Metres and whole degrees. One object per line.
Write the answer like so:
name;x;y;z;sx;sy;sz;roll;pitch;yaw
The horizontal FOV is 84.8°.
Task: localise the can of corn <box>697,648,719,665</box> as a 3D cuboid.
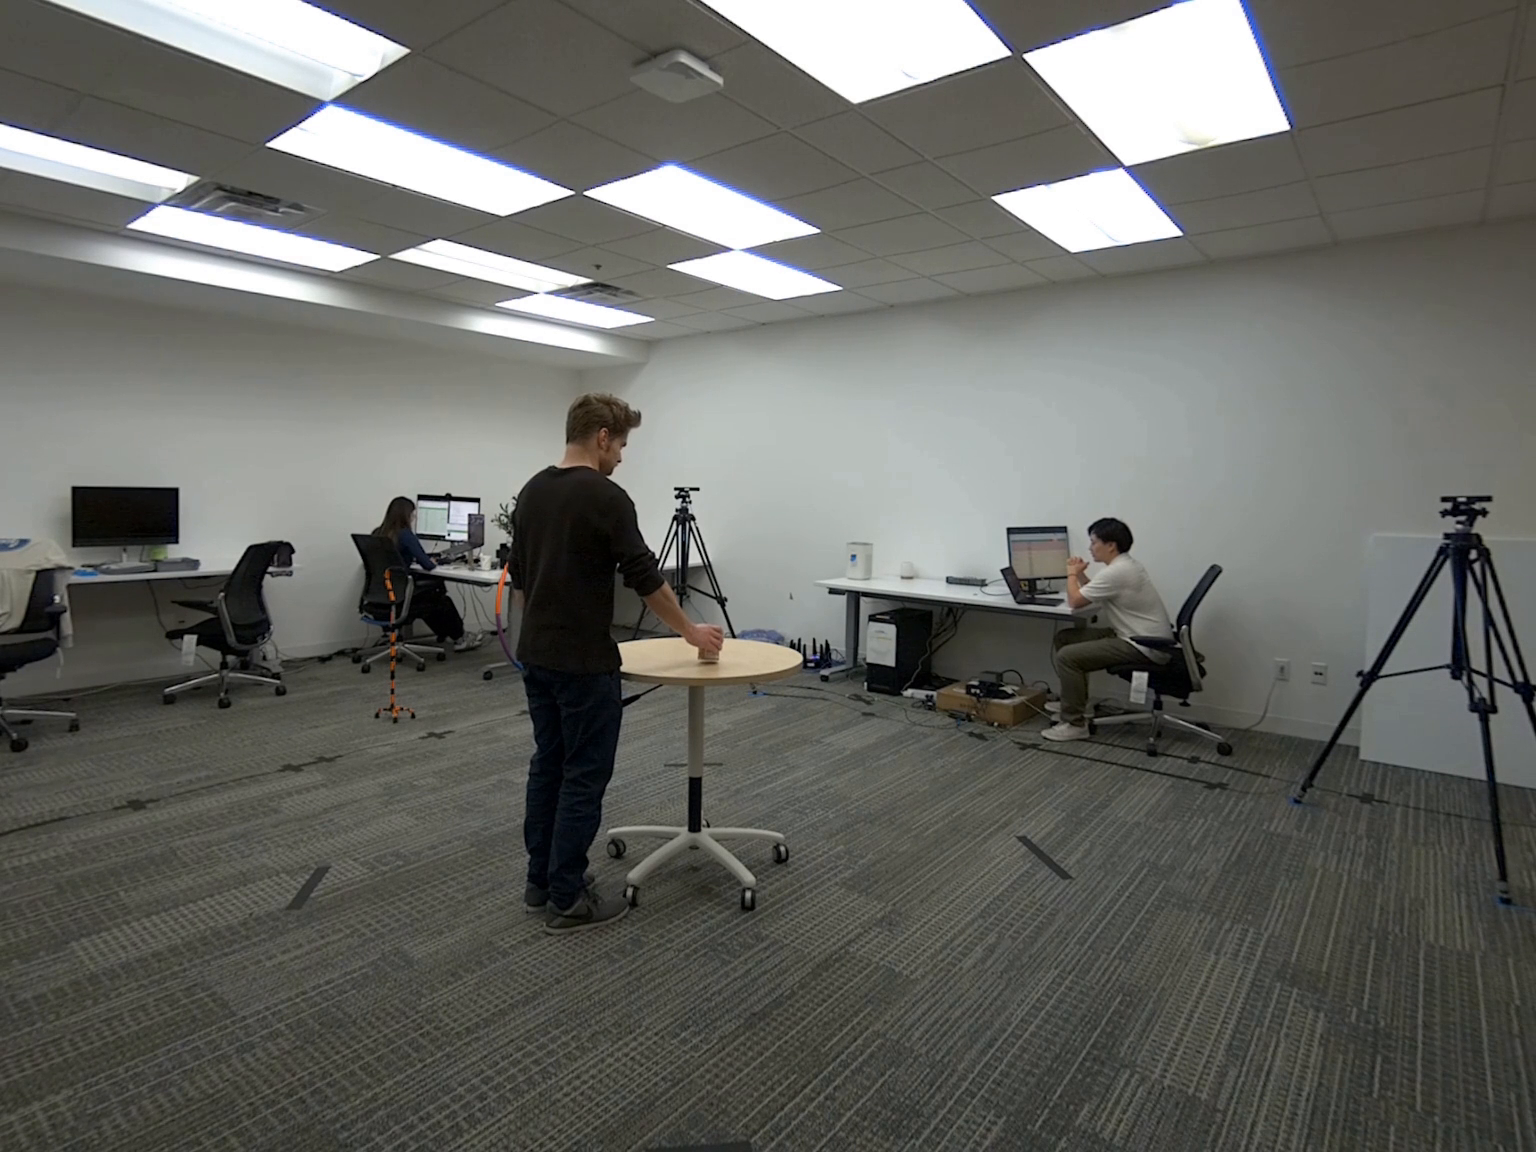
can of corn;-0.210;0.238;2.945;0.074;0.111;0.074;4;-1;-2
